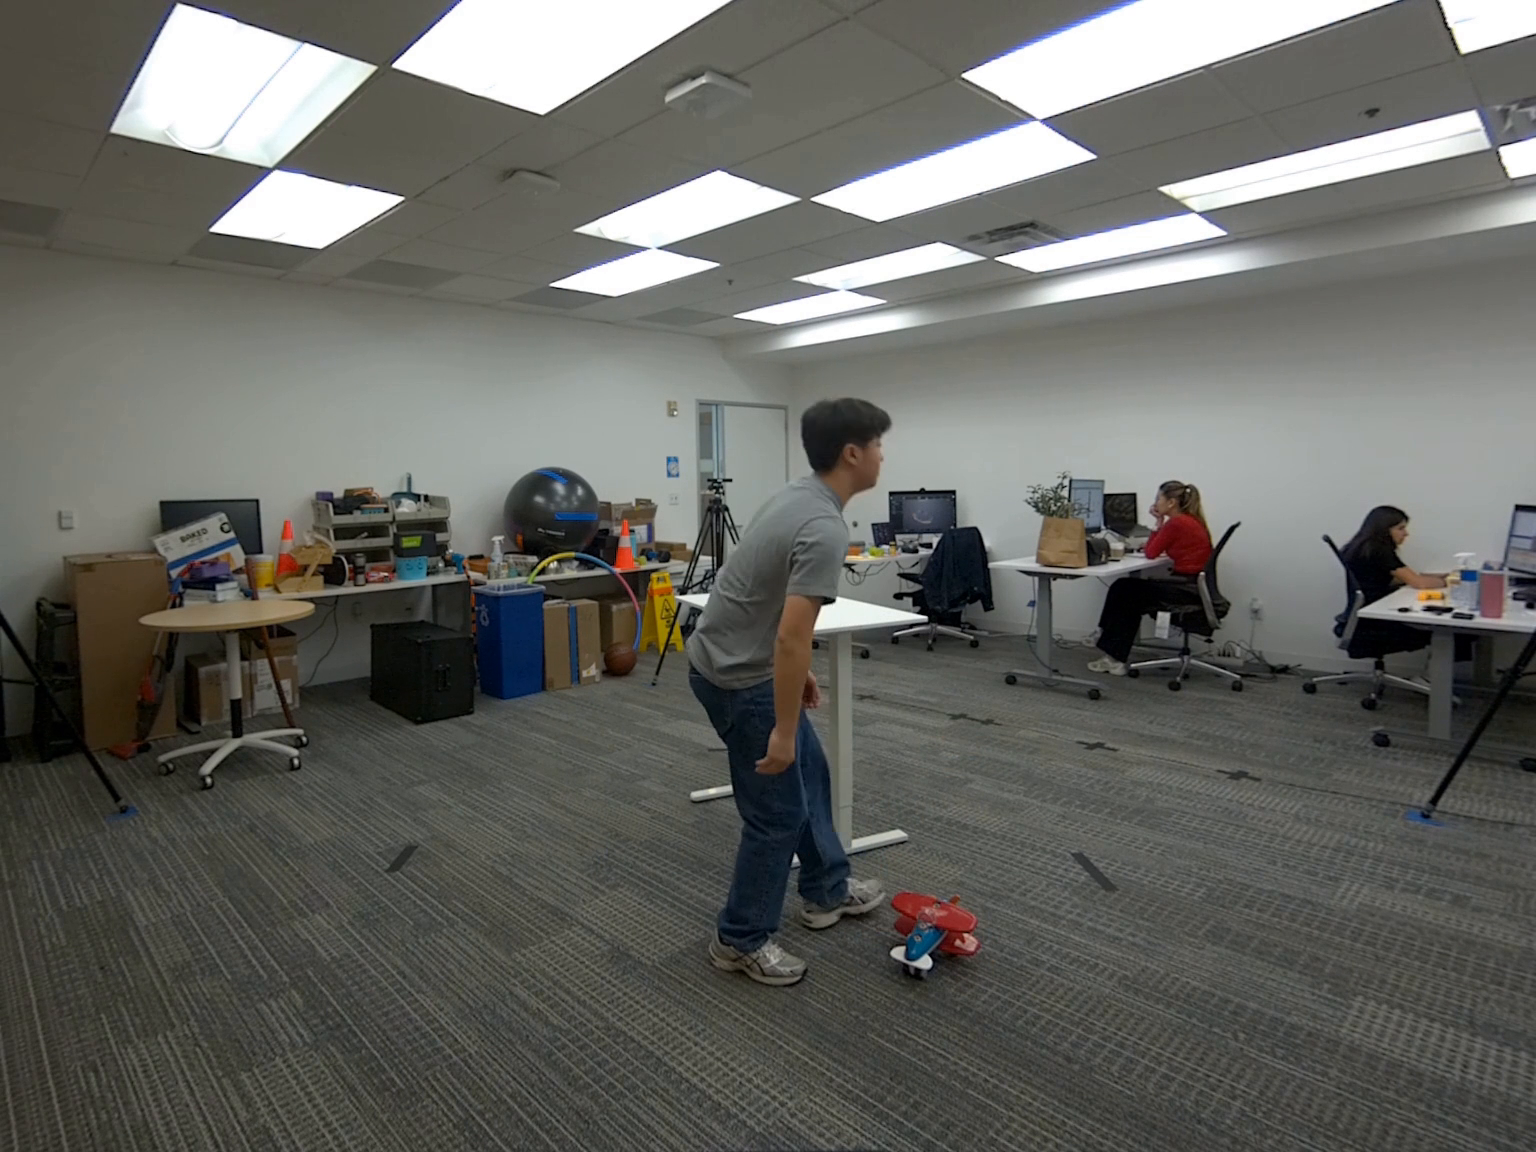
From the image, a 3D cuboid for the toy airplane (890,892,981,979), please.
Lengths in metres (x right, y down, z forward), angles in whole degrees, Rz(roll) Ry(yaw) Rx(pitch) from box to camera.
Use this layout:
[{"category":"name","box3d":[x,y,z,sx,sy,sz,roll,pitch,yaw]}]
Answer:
[{"category":"toy airplane","box3d":[0.485,1.042,2.446,0.254,0.156,0.257,0,4,10]}]
